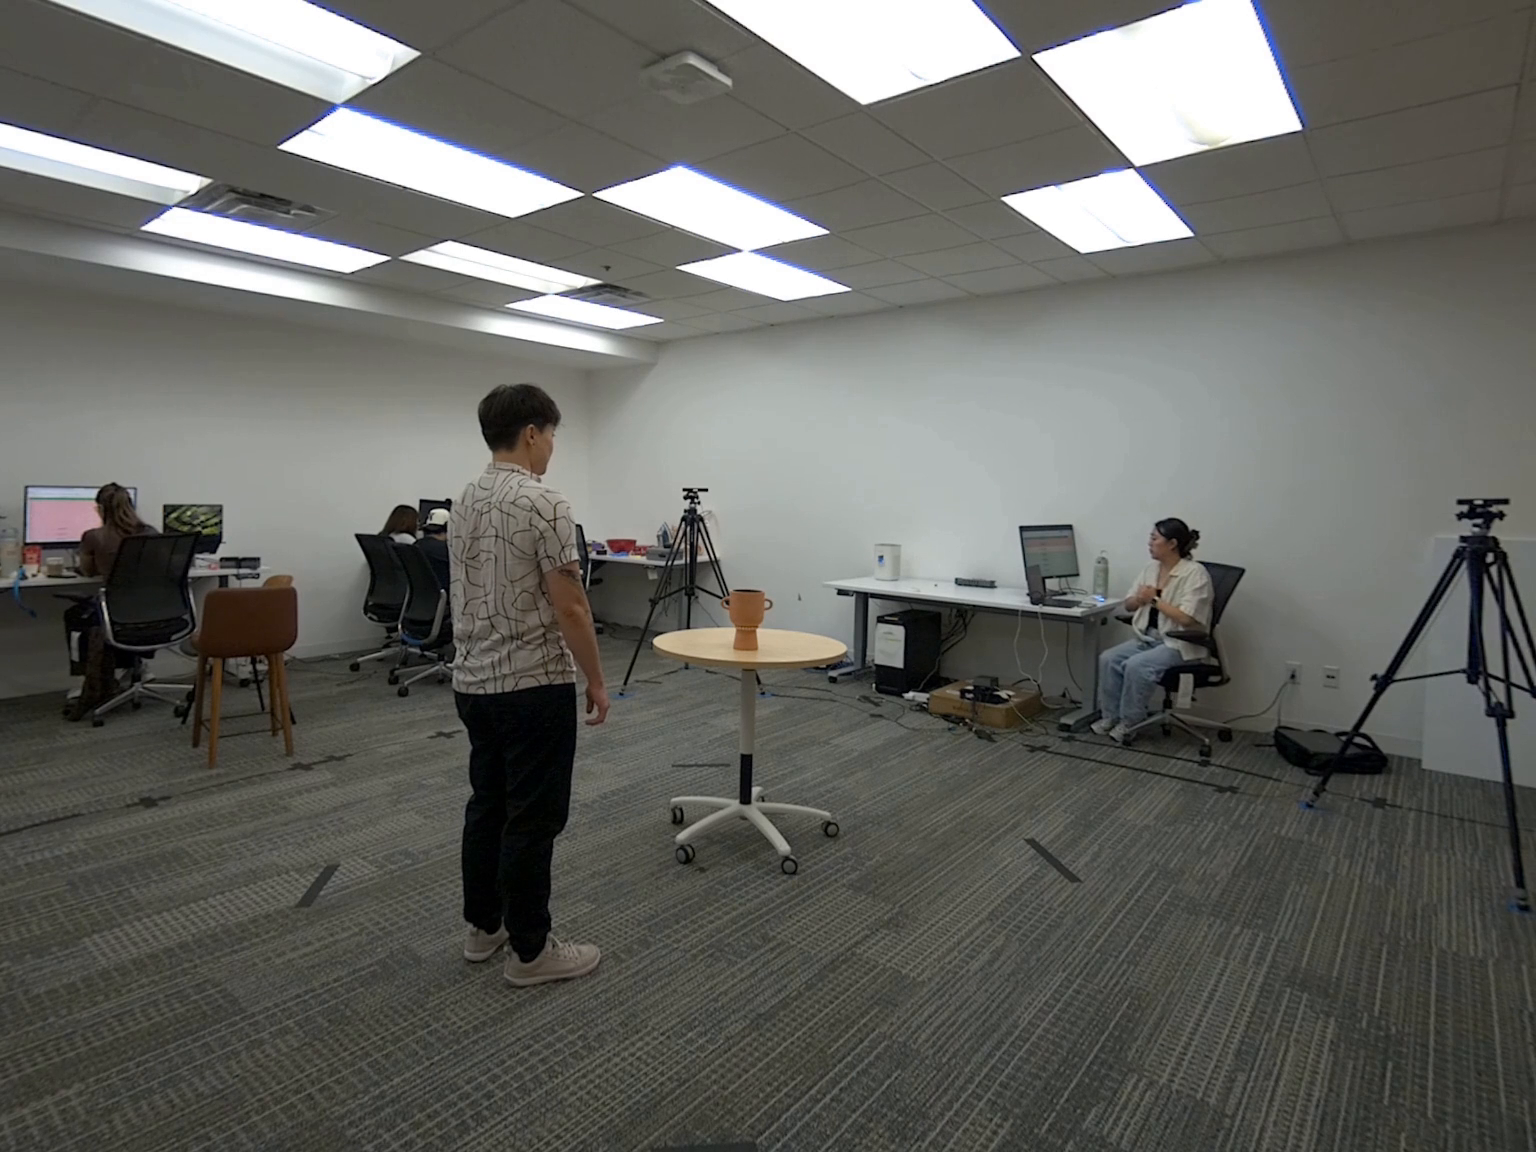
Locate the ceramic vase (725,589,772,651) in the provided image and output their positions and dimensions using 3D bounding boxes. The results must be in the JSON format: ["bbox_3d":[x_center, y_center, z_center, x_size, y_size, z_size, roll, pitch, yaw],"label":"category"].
[{"bbox_3d":[-0.091,0.165,3.245,0.164,0.219,0.130,4,3,38],"label":"ceramic vase"}]
